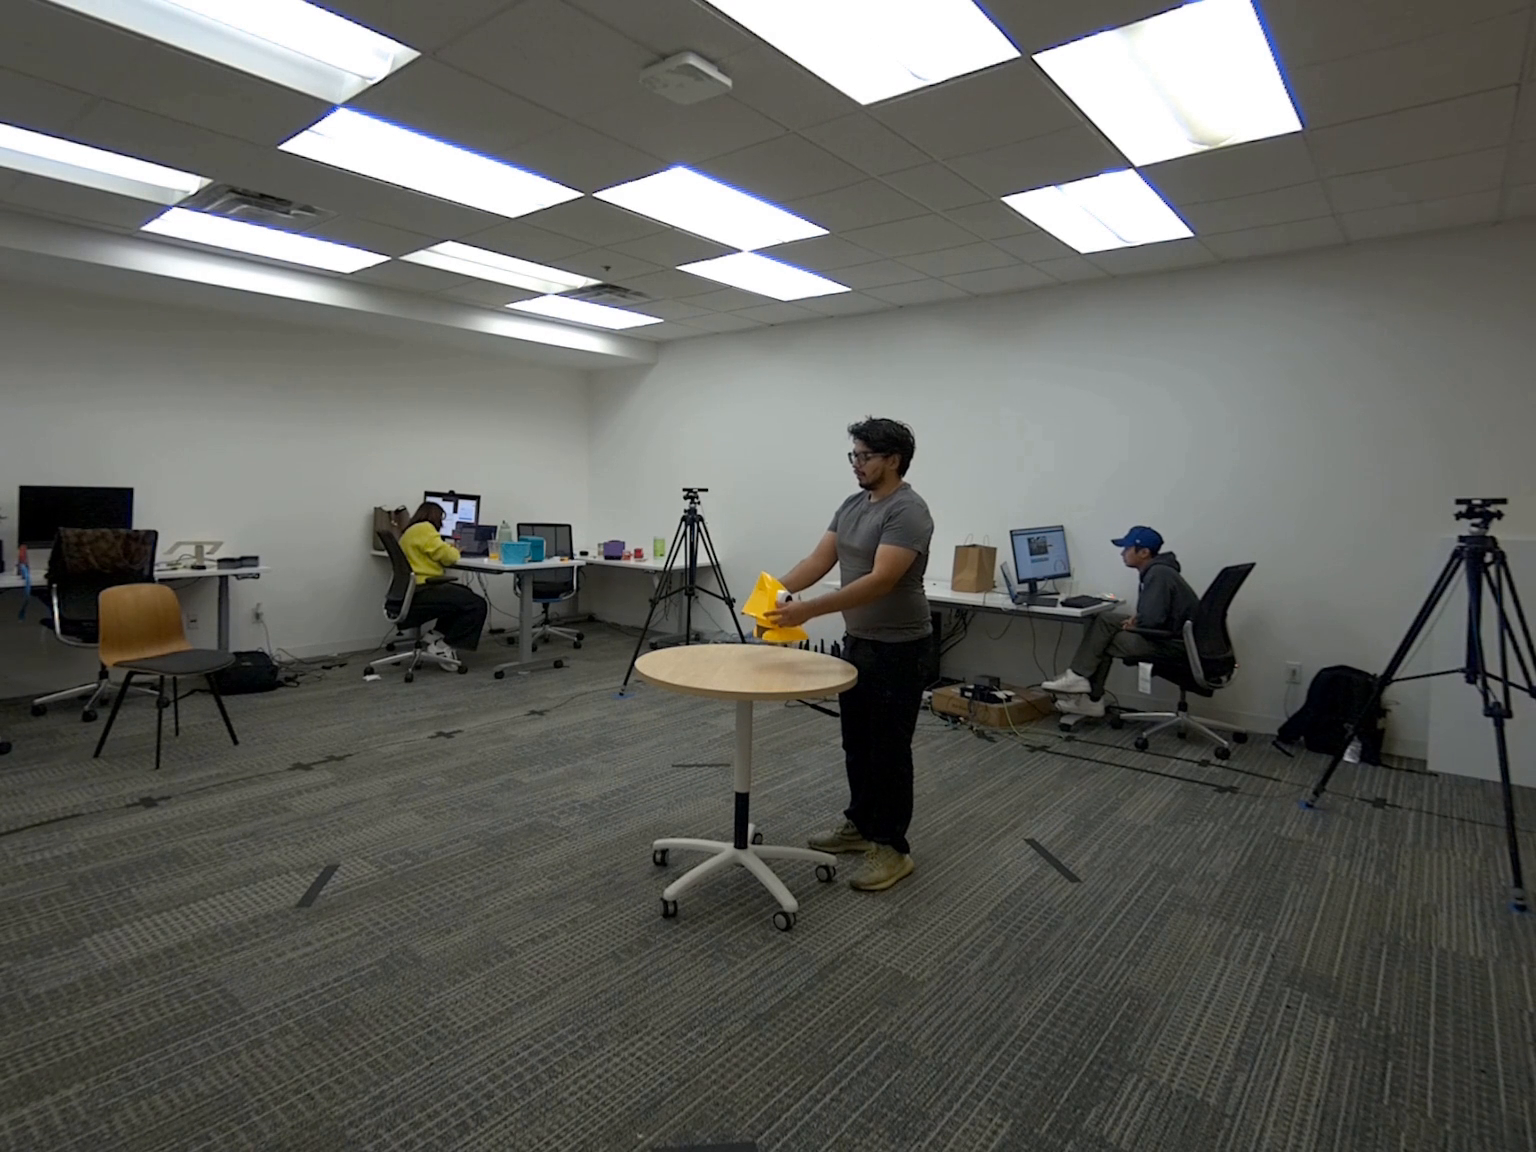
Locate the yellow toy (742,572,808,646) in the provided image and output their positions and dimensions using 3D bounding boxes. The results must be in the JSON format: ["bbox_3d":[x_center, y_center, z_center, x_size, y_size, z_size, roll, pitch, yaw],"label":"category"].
[{"bbox_3d":[0.018,0.096,2.958,0.189,0.230,0.210,-1,5,-24],"label":"yellow toy"}]
